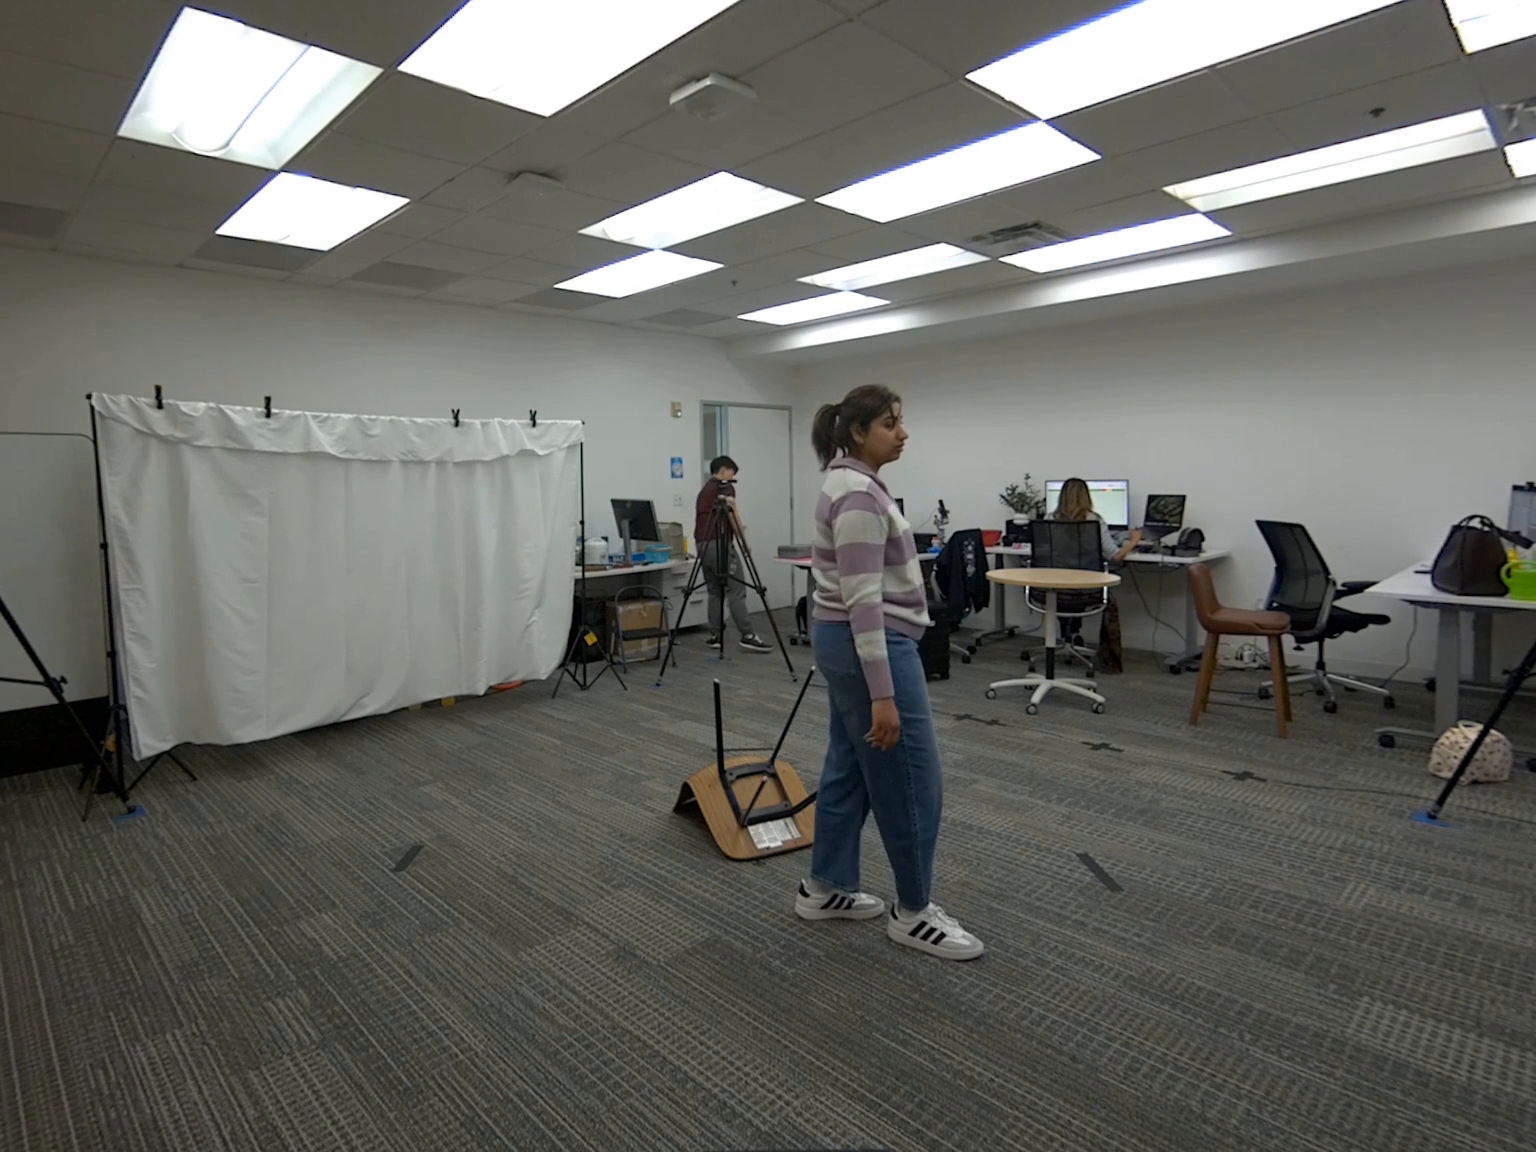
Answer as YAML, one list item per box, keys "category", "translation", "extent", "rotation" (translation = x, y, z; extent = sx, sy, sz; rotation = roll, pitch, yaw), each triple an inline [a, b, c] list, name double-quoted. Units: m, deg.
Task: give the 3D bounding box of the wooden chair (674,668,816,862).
- category: "wooden chair"
  translation: [-0.042, 0.851, 3.346]
  extent: [0.467, 0.866, 0.543]
  rotation: [-3, 46, -30]
